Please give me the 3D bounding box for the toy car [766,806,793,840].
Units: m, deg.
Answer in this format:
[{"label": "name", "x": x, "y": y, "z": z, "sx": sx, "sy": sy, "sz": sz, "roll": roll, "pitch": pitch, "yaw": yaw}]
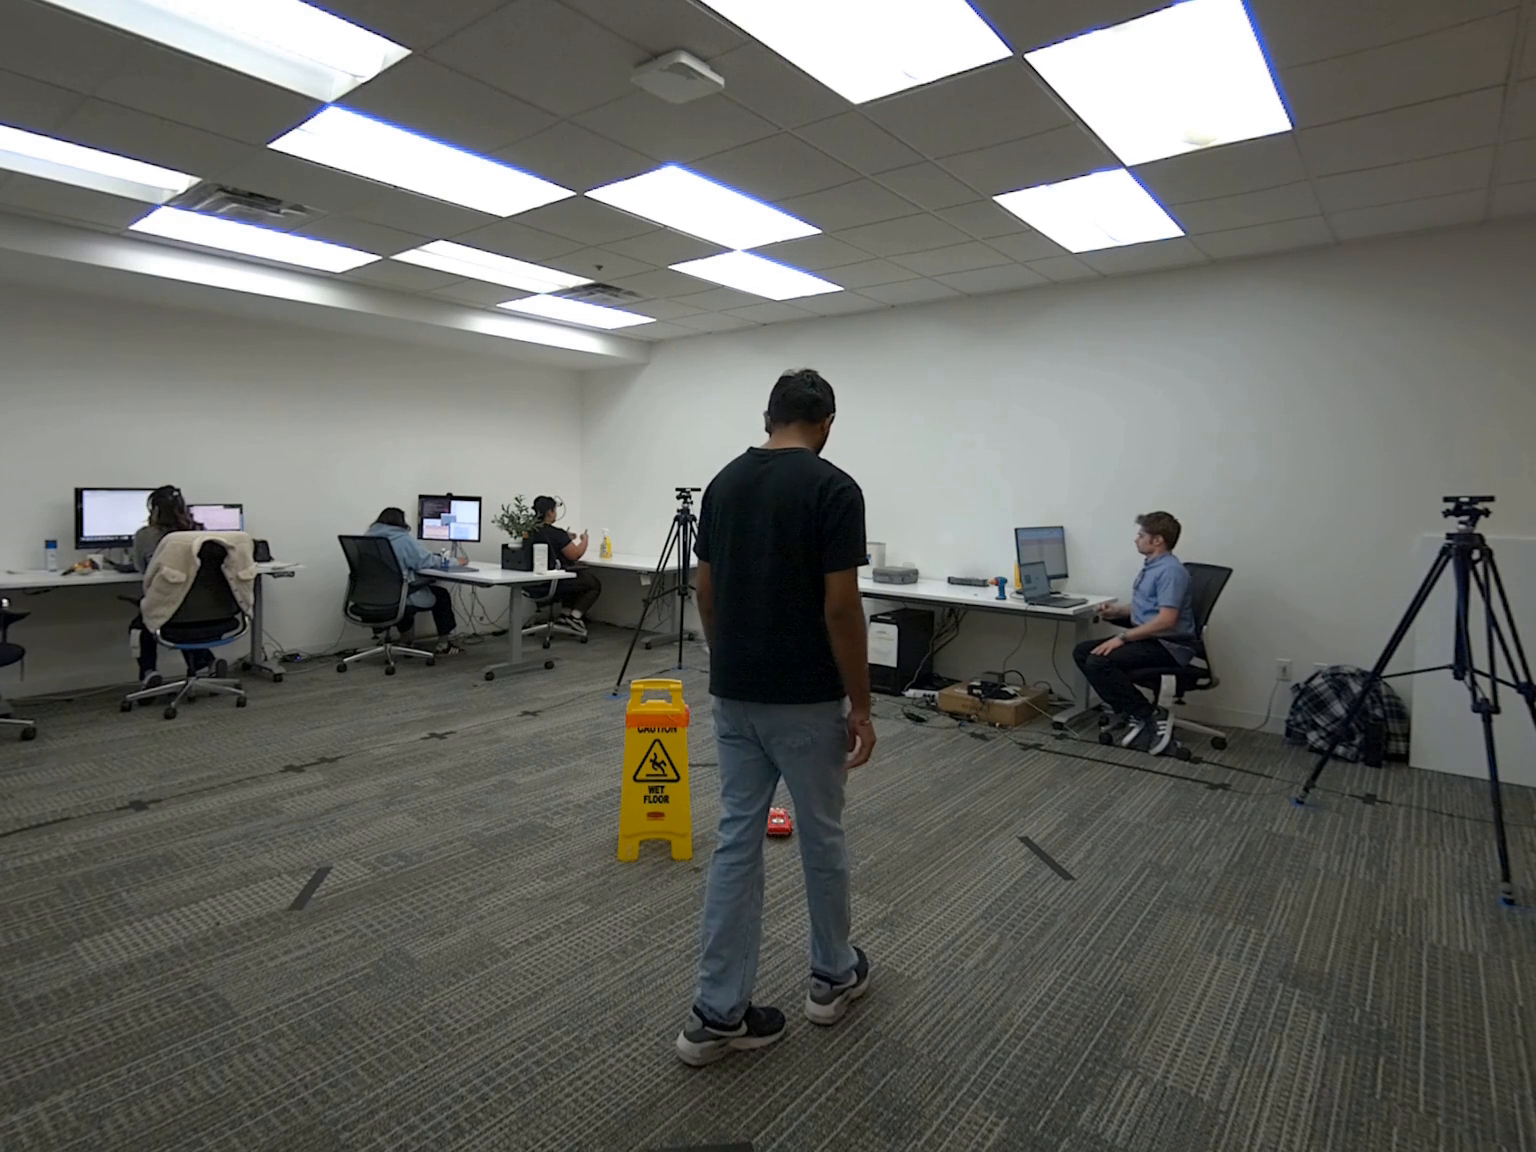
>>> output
[{"label": "toy car", "x": 0.030, "y": 0.999, "z": 3.481, "sx": 0.130, "sy": 0.084, "sz": 0.253, "roll": 1, "pitch": -6, "yaw": -3}]
